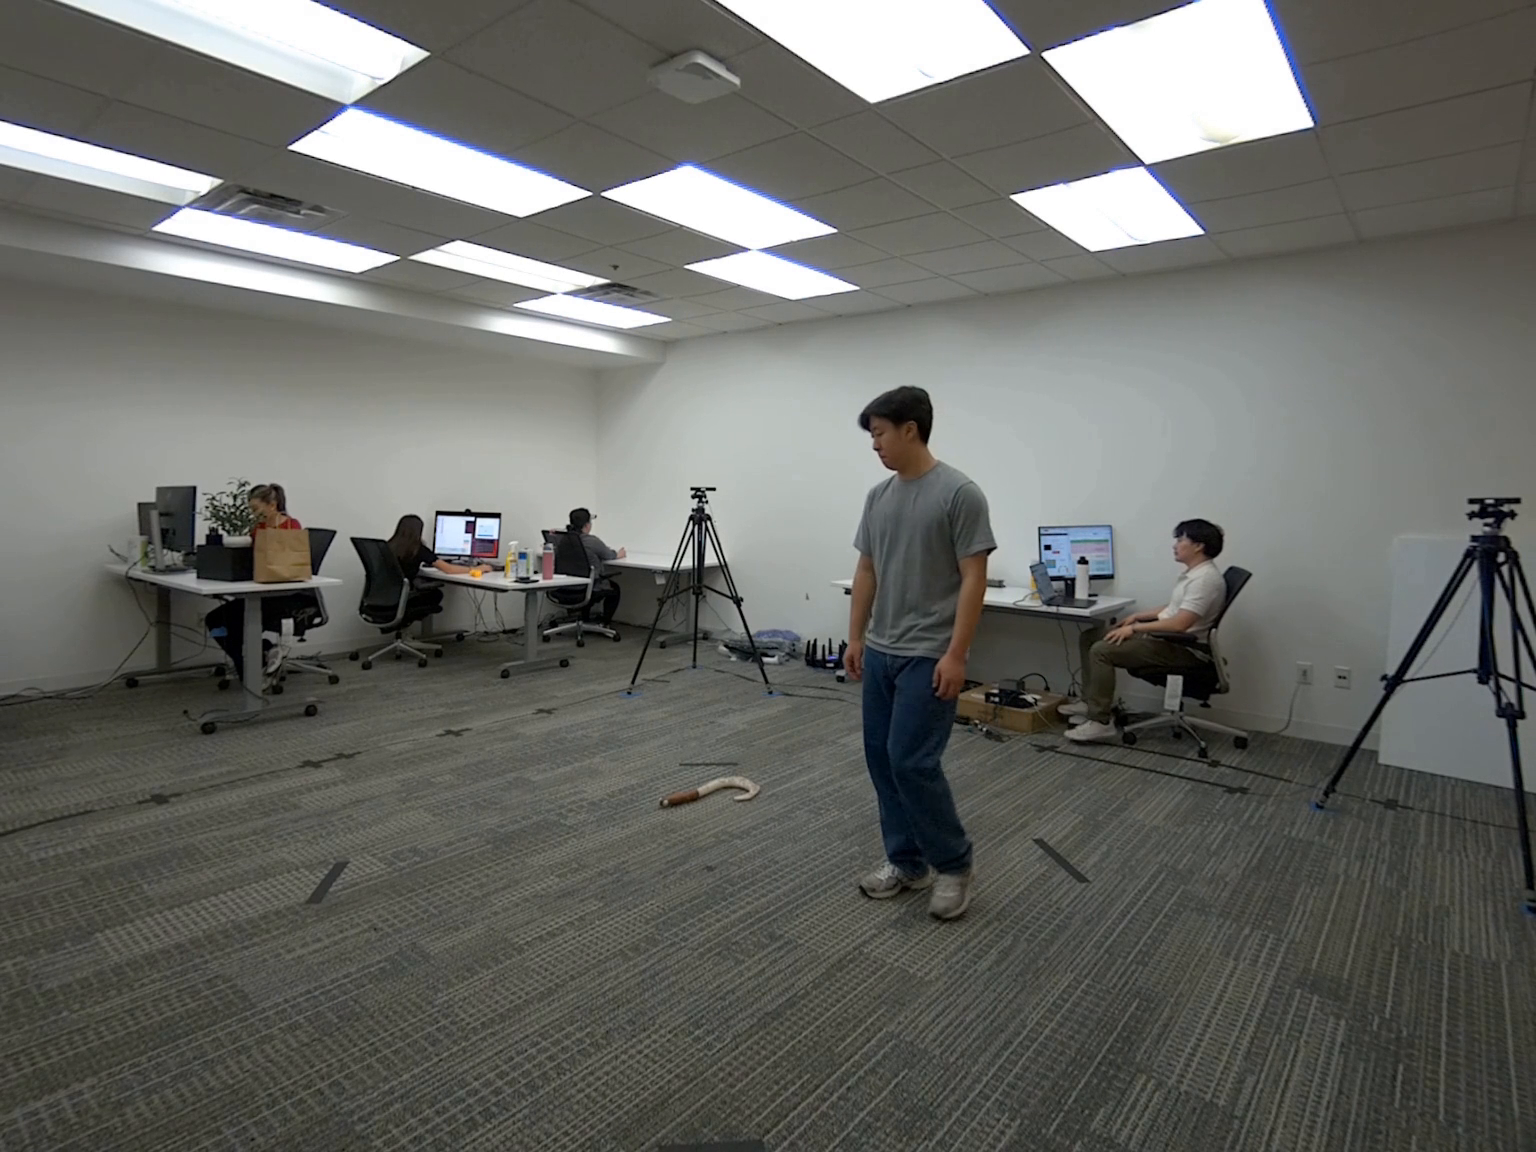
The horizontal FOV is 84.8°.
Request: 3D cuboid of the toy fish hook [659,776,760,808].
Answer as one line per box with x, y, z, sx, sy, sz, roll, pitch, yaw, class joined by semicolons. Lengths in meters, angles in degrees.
-0.262;0.972;3.804;0.491;0.048;0.232;-5;7;-42;toy fish hook
